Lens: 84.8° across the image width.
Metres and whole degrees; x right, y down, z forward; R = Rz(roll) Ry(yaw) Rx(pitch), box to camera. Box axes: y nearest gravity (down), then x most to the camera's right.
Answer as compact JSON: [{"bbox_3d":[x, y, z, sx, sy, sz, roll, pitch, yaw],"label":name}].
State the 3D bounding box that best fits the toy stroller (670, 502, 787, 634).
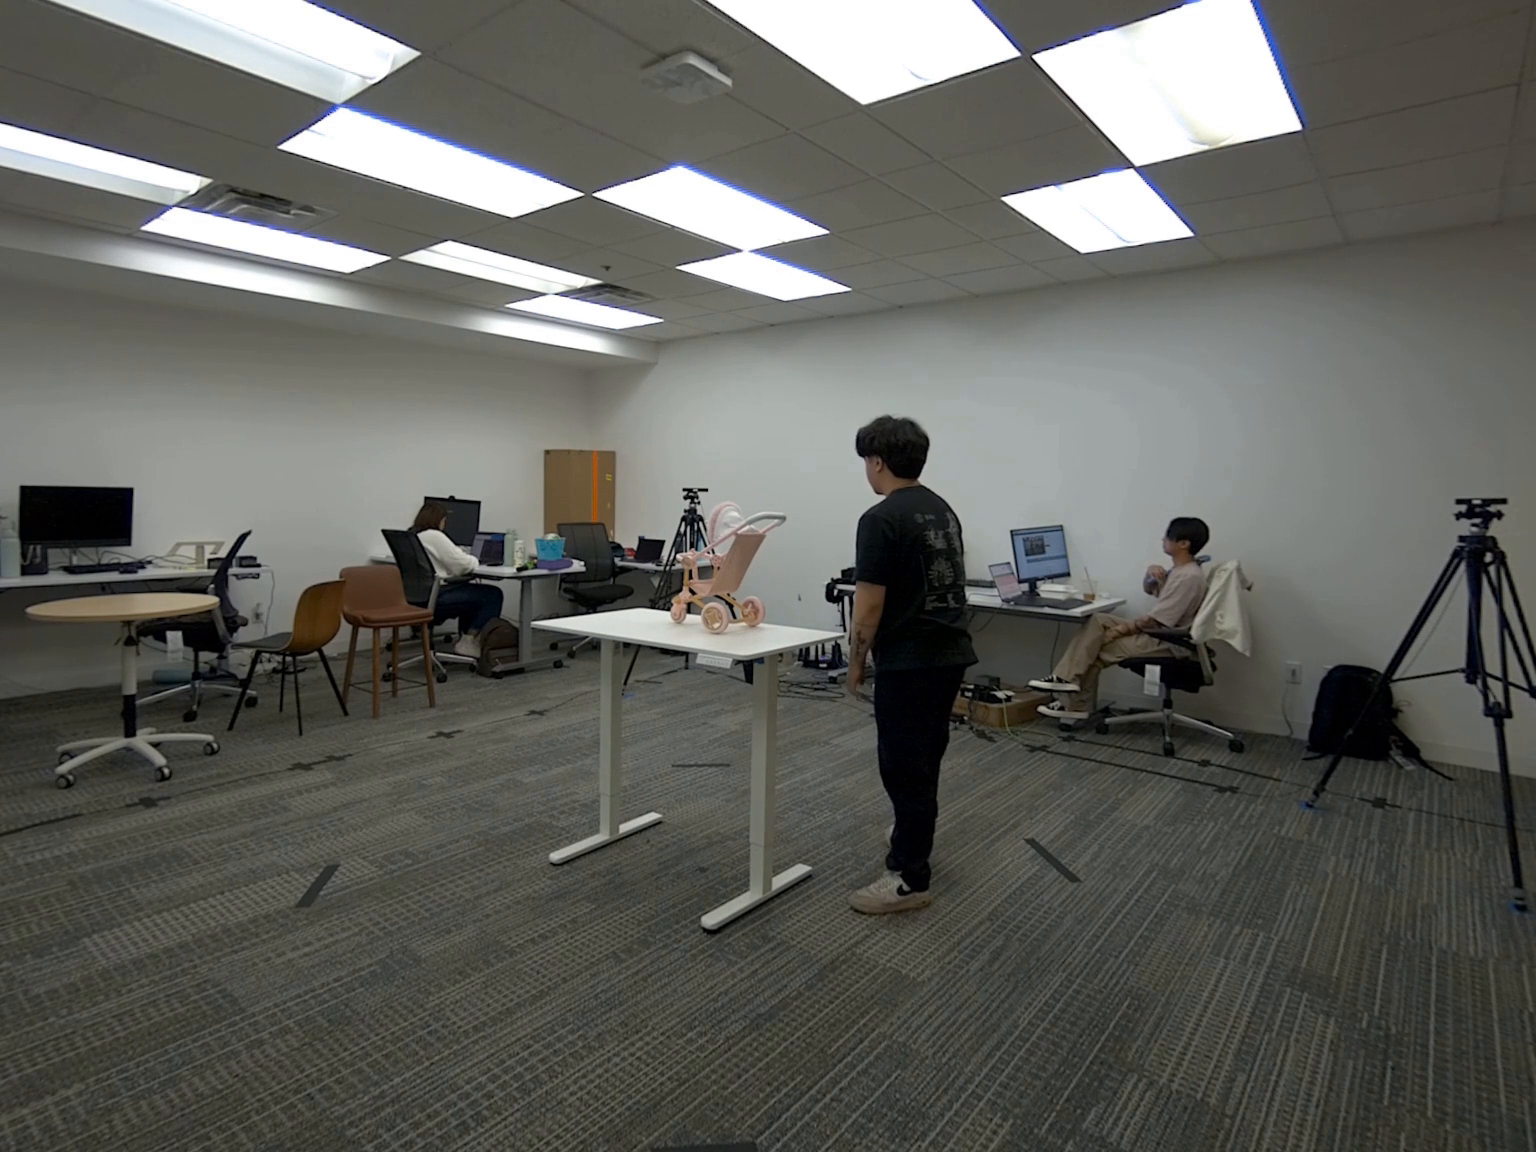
[{"bbox_3d":[-0.184,-0.034,3.097,0.355,0.531,0.273,23,14,35],"label":"toy stroller"}]
